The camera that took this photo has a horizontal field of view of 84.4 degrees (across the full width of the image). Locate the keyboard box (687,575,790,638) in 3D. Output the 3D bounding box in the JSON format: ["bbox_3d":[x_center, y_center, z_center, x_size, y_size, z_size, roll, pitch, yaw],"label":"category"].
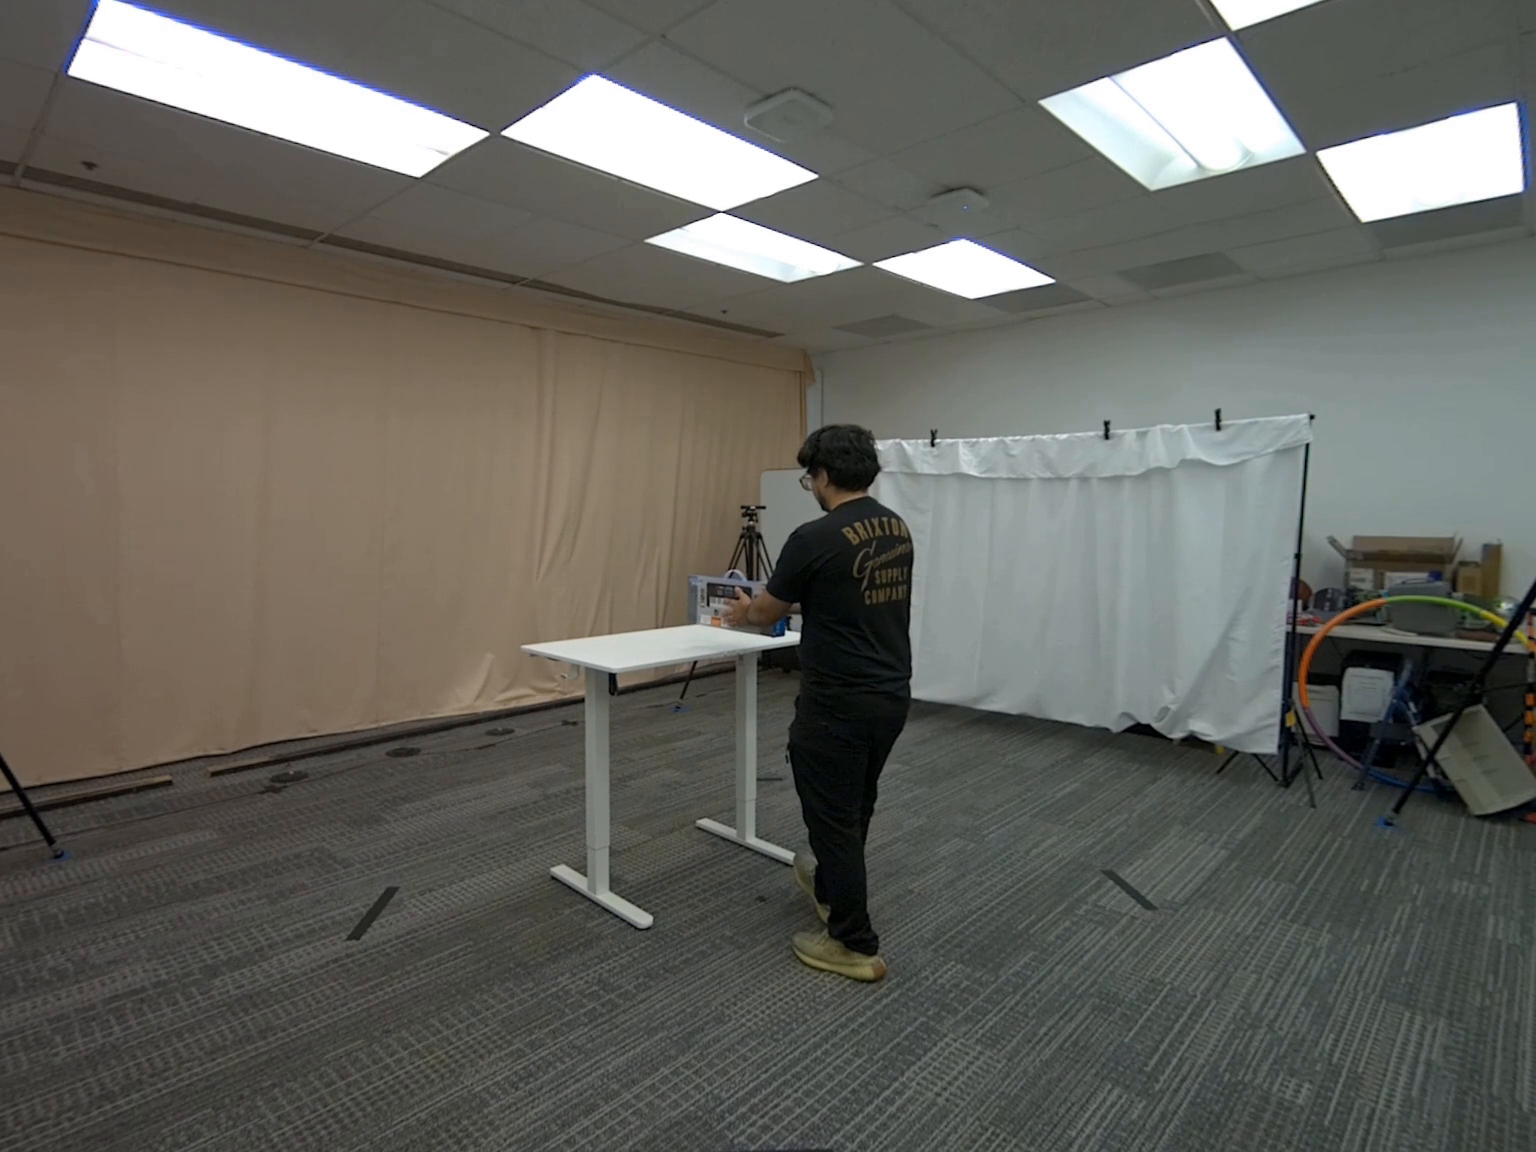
[{"bbox_3d":[-0.116,0.101,2.907,0.057,0.175,0.452,-1,5,-44],"label":"keyboard box"}]
